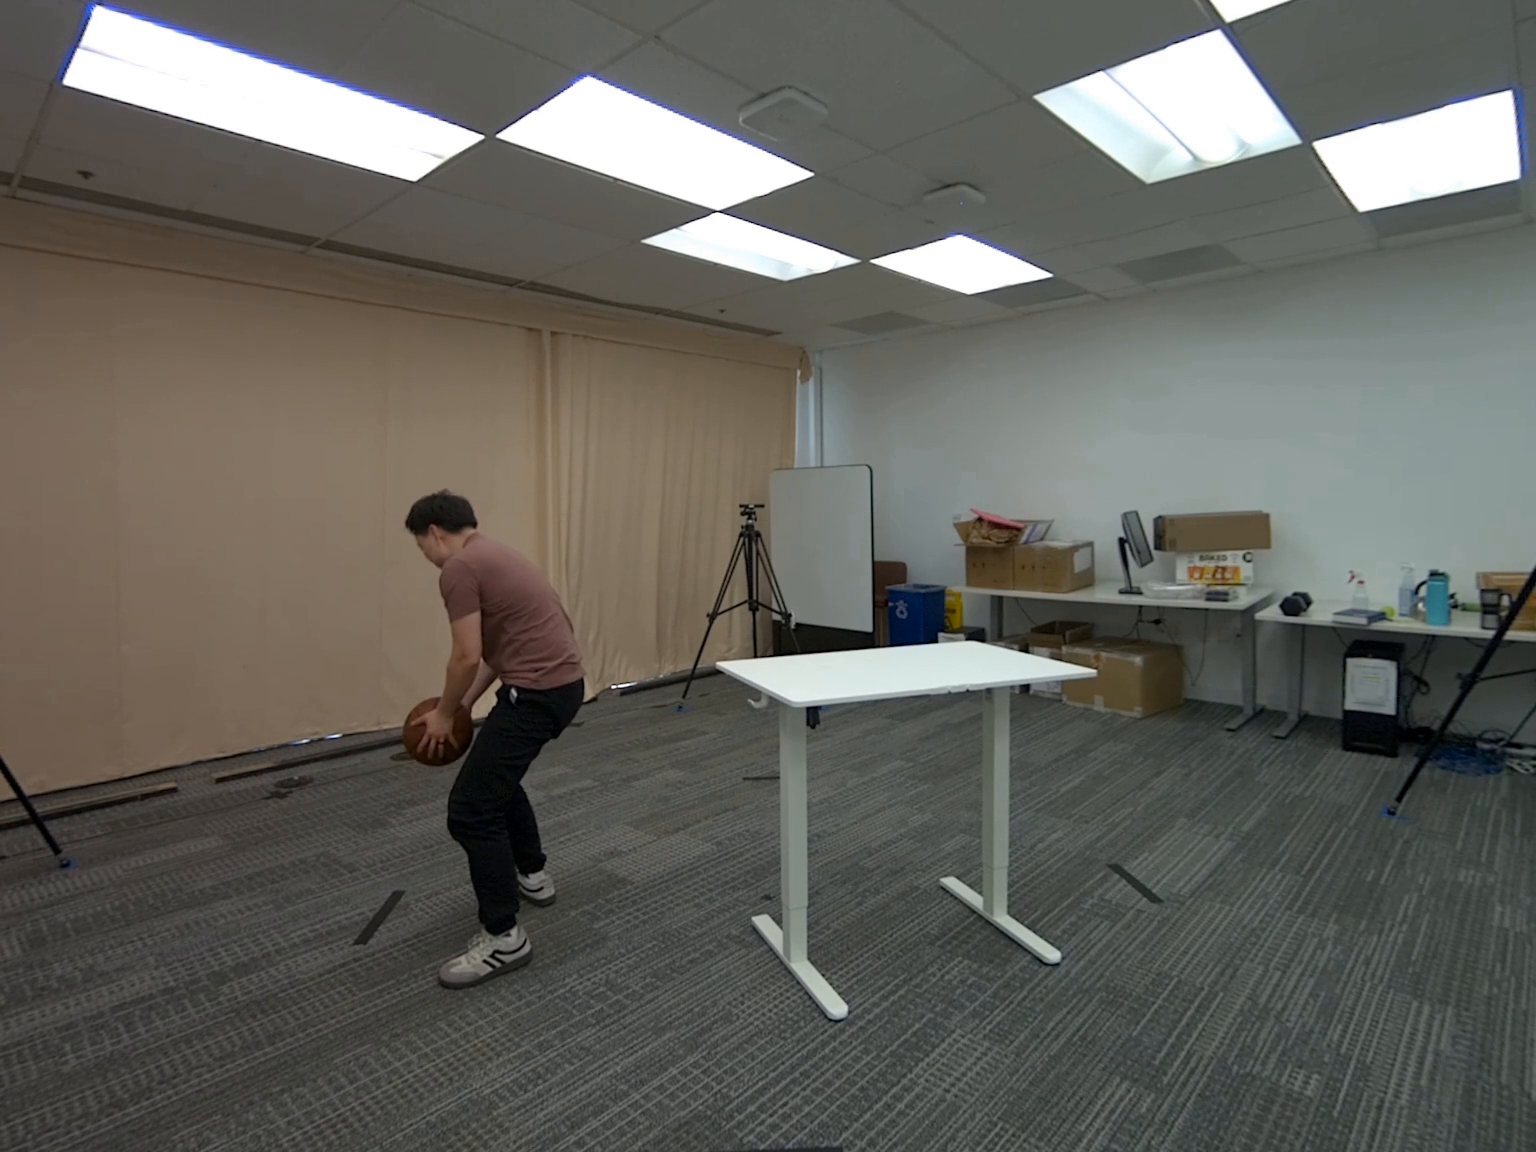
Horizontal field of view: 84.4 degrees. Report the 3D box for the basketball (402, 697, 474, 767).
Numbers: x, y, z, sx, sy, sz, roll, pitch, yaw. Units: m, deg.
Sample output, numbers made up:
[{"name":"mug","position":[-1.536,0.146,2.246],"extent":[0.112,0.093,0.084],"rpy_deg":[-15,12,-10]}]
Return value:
[{"name":"basketball","position":[-1.140,0.543,2.910],"extent":[0.236,0.235,0.237],"rpy_deg":[-1,4,-2]}]
